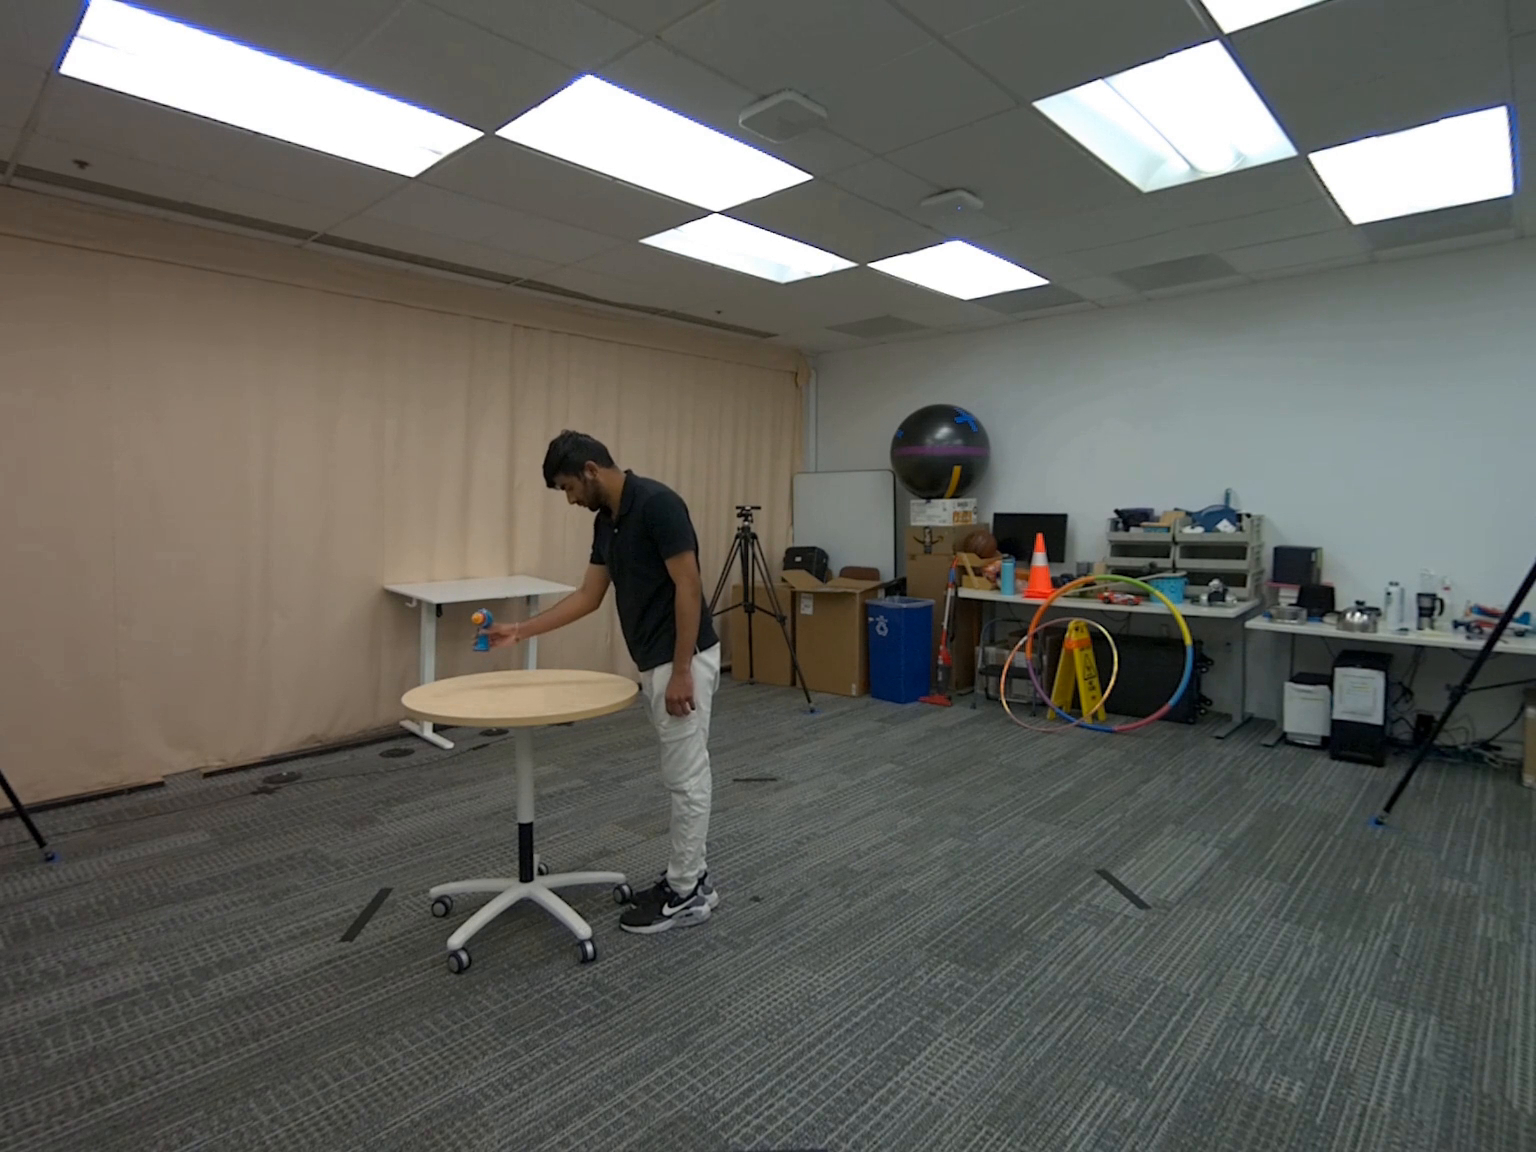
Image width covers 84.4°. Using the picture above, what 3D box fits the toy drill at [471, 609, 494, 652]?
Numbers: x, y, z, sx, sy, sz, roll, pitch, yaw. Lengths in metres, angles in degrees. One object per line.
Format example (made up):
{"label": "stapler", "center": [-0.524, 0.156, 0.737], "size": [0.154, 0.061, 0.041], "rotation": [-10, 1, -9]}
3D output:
{"label": "toy drill", "center": [-0.972, 0.186, 2.857], "size": [0.061, 0.146, 0.170], "rotation": [7, -5, -4]}
